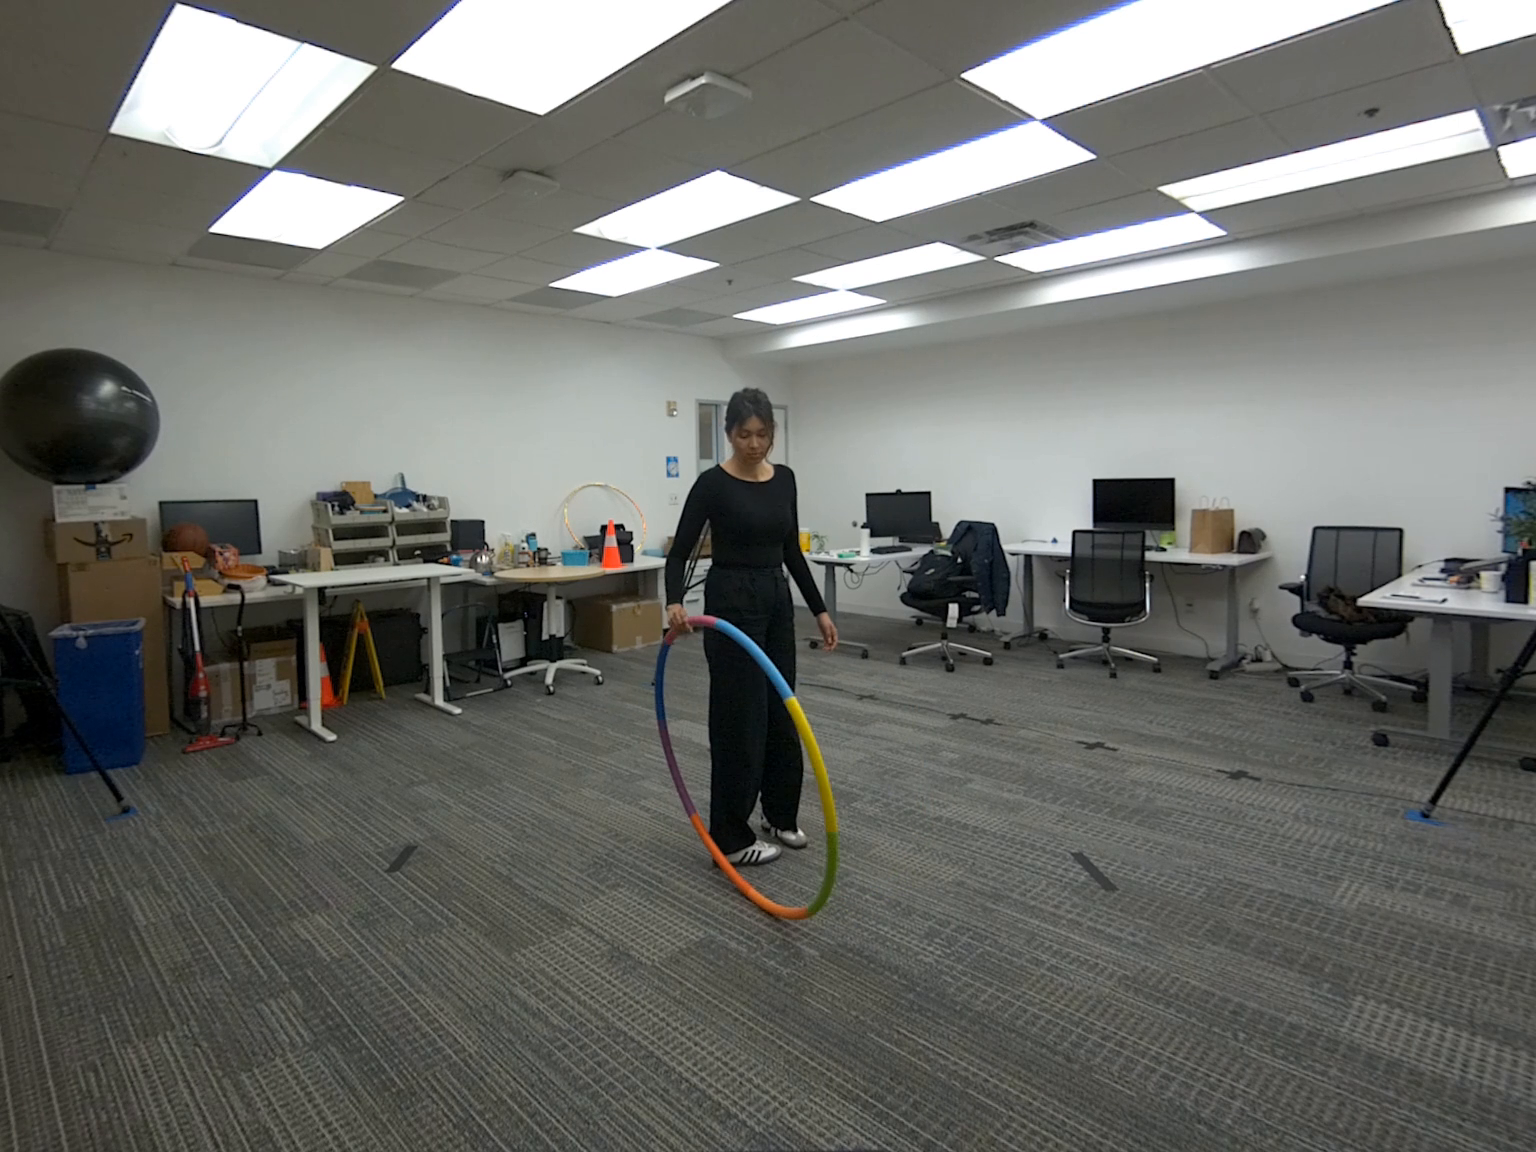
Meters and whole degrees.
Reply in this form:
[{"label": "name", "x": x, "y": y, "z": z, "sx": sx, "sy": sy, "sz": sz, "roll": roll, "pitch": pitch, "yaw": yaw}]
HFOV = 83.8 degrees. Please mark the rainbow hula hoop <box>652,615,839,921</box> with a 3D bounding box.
[{"label": "rainbow hula hoop", "x": -0.090, "y": 0.608, "z": 2.732, "sx": 0.035, "sy": 0.969, "sz": 1.007, "roll": -14, "pitch": 11, "yaw": -32}]
